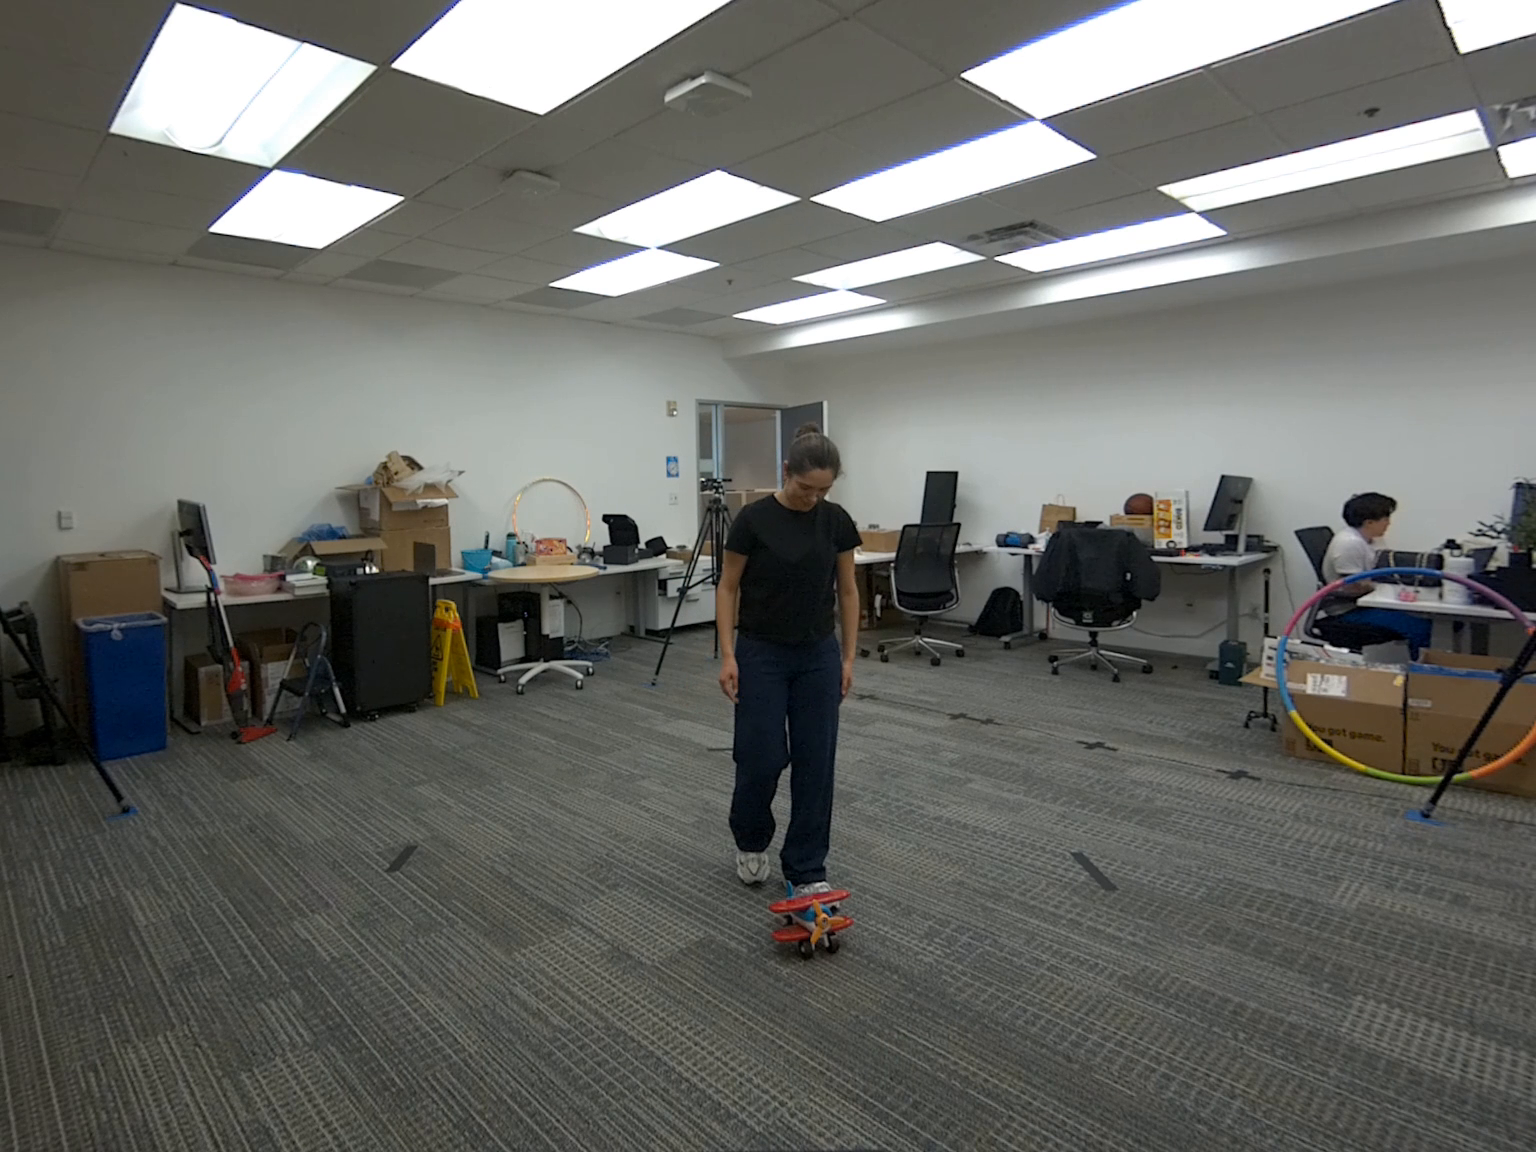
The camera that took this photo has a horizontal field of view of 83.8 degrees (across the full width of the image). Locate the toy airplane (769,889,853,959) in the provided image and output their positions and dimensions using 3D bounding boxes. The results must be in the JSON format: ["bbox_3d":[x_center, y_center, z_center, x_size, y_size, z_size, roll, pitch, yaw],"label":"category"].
[{"bbox_3d":[0.099,1.030,2.591,0.267,0.156,0.244,4,7,39],"label":"toy airplane"}]
